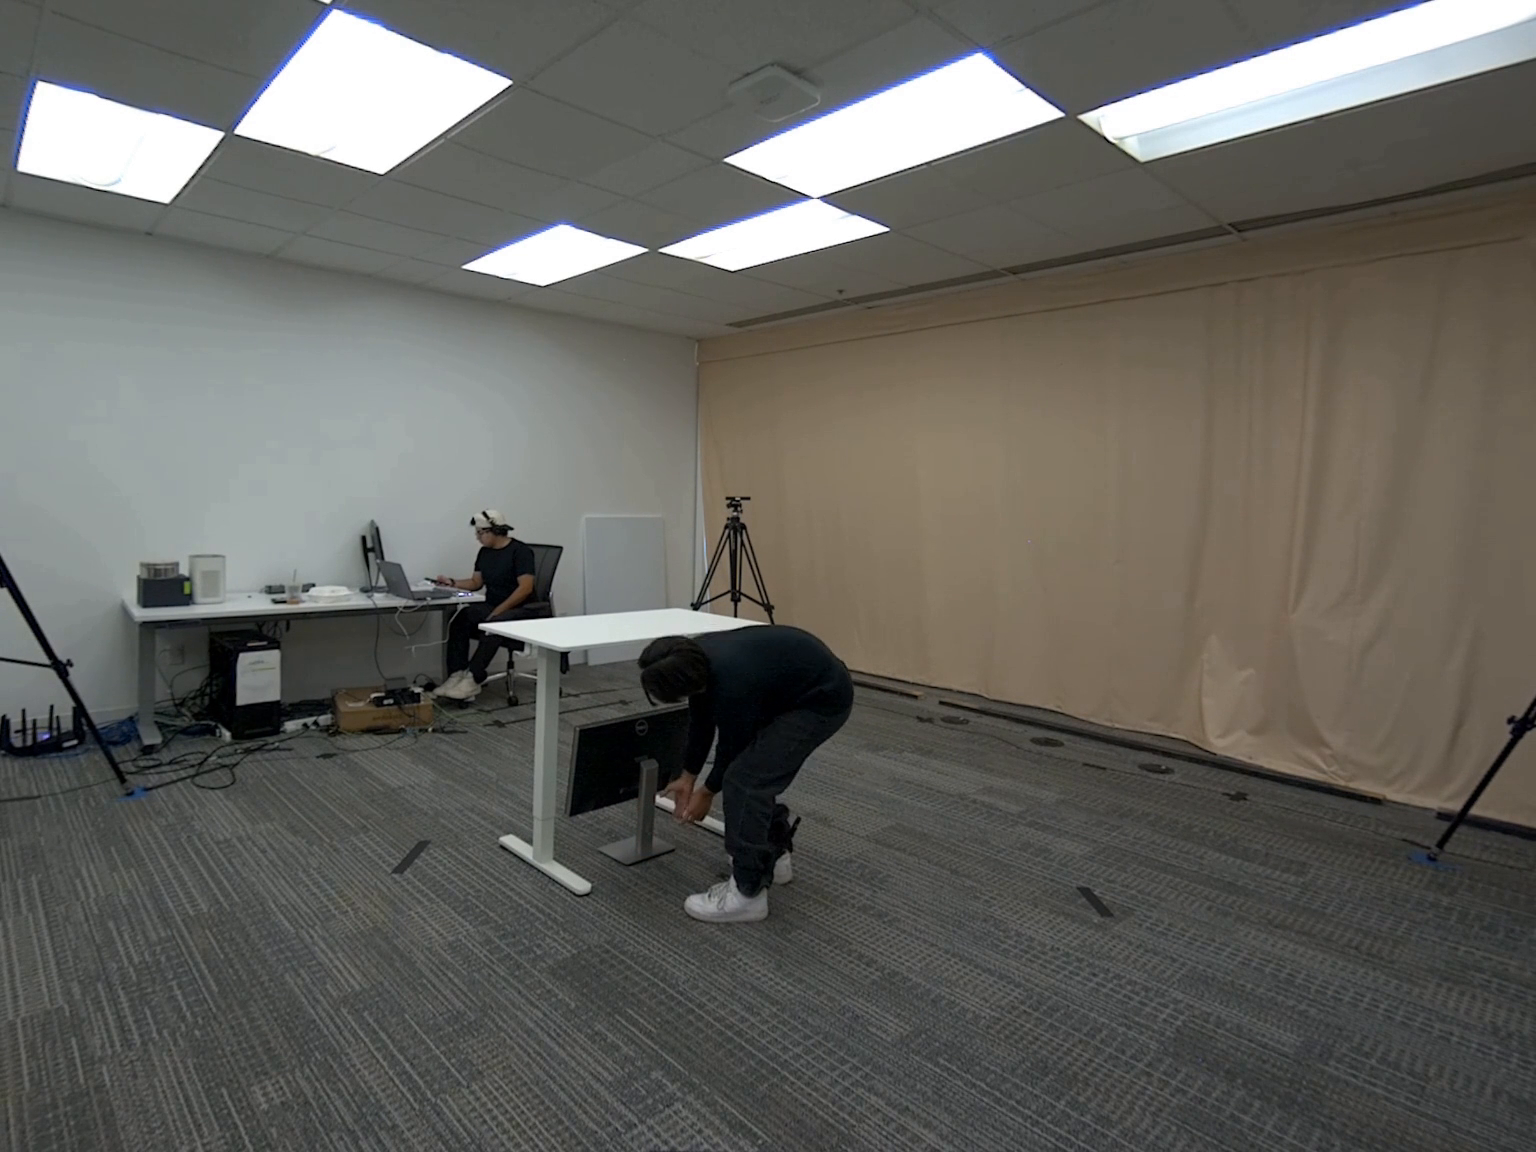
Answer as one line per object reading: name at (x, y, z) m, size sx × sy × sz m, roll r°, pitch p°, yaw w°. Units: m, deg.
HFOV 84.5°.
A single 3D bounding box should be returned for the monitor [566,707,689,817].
monitor at (-0.522, 0.805, 3.305) m, size 0.518 × 0.517 × 0.178 m, roll -4°, pitch -2°, yaw -42°
